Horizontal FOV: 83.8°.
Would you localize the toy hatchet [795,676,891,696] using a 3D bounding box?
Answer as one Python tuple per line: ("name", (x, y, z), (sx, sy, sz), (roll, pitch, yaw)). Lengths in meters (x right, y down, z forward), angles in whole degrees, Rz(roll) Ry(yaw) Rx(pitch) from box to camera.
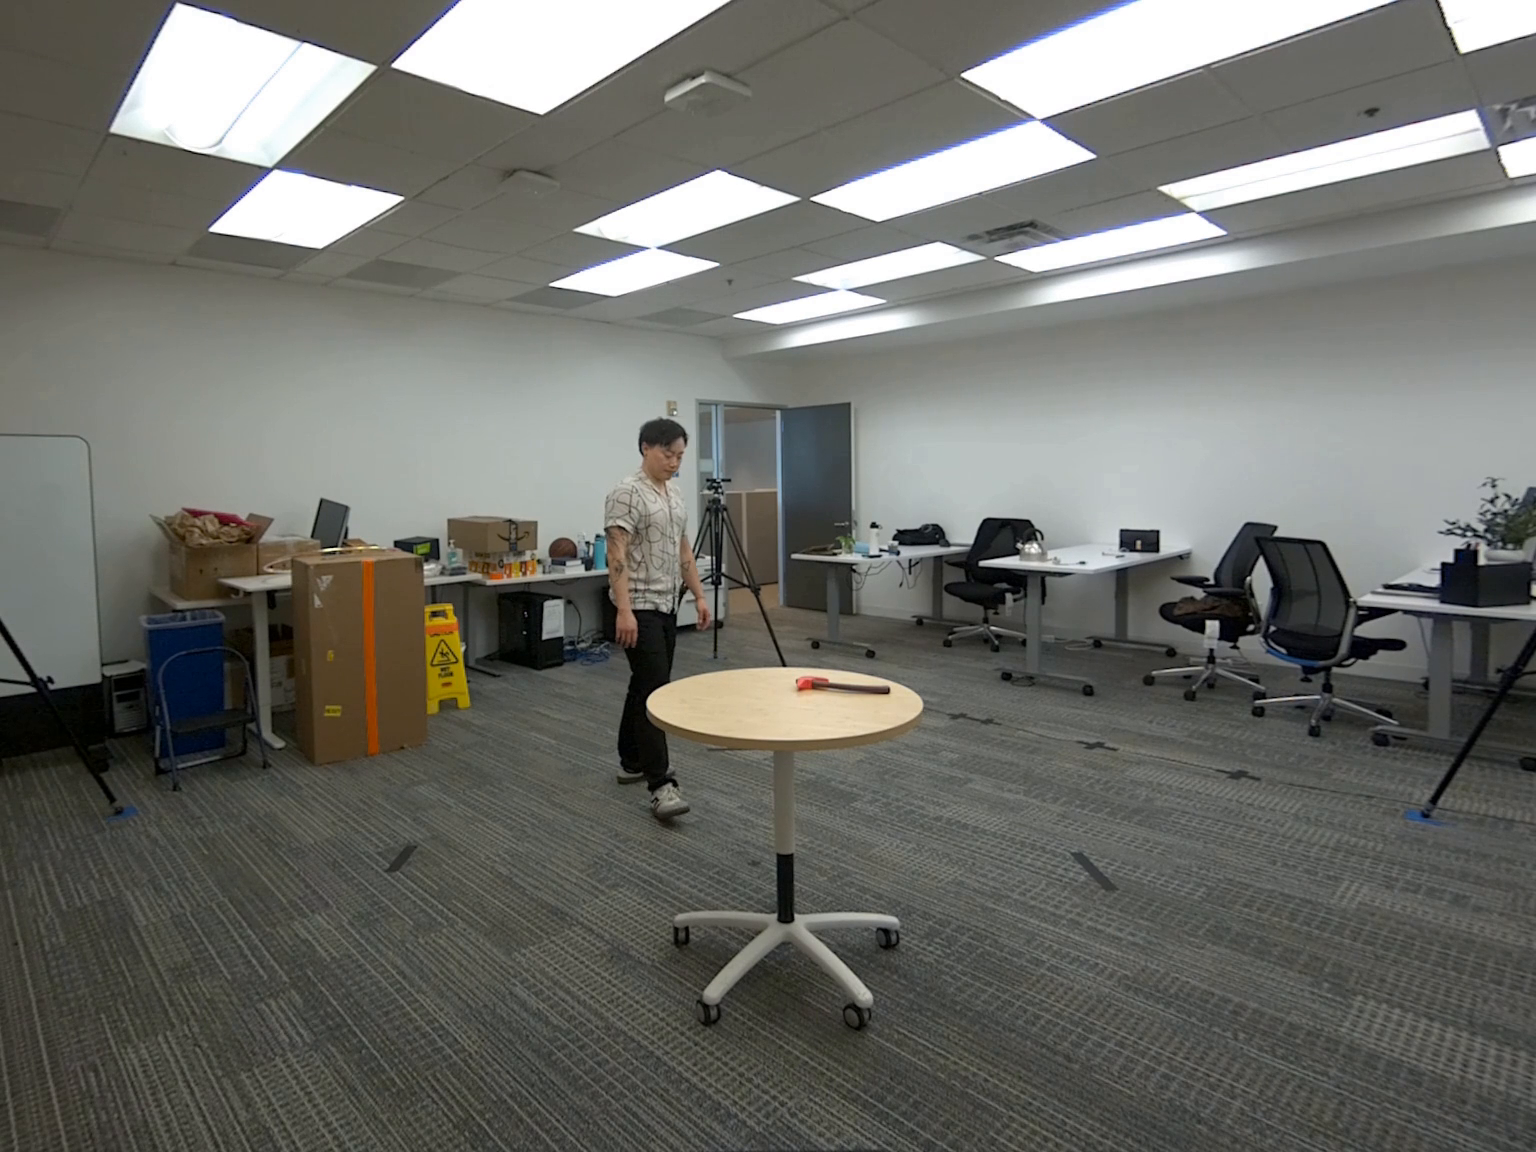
("toy hatchet", (0.227, 0.321, 2.490), (0.272, 0.029, 0.130), (1, 3, 6))
